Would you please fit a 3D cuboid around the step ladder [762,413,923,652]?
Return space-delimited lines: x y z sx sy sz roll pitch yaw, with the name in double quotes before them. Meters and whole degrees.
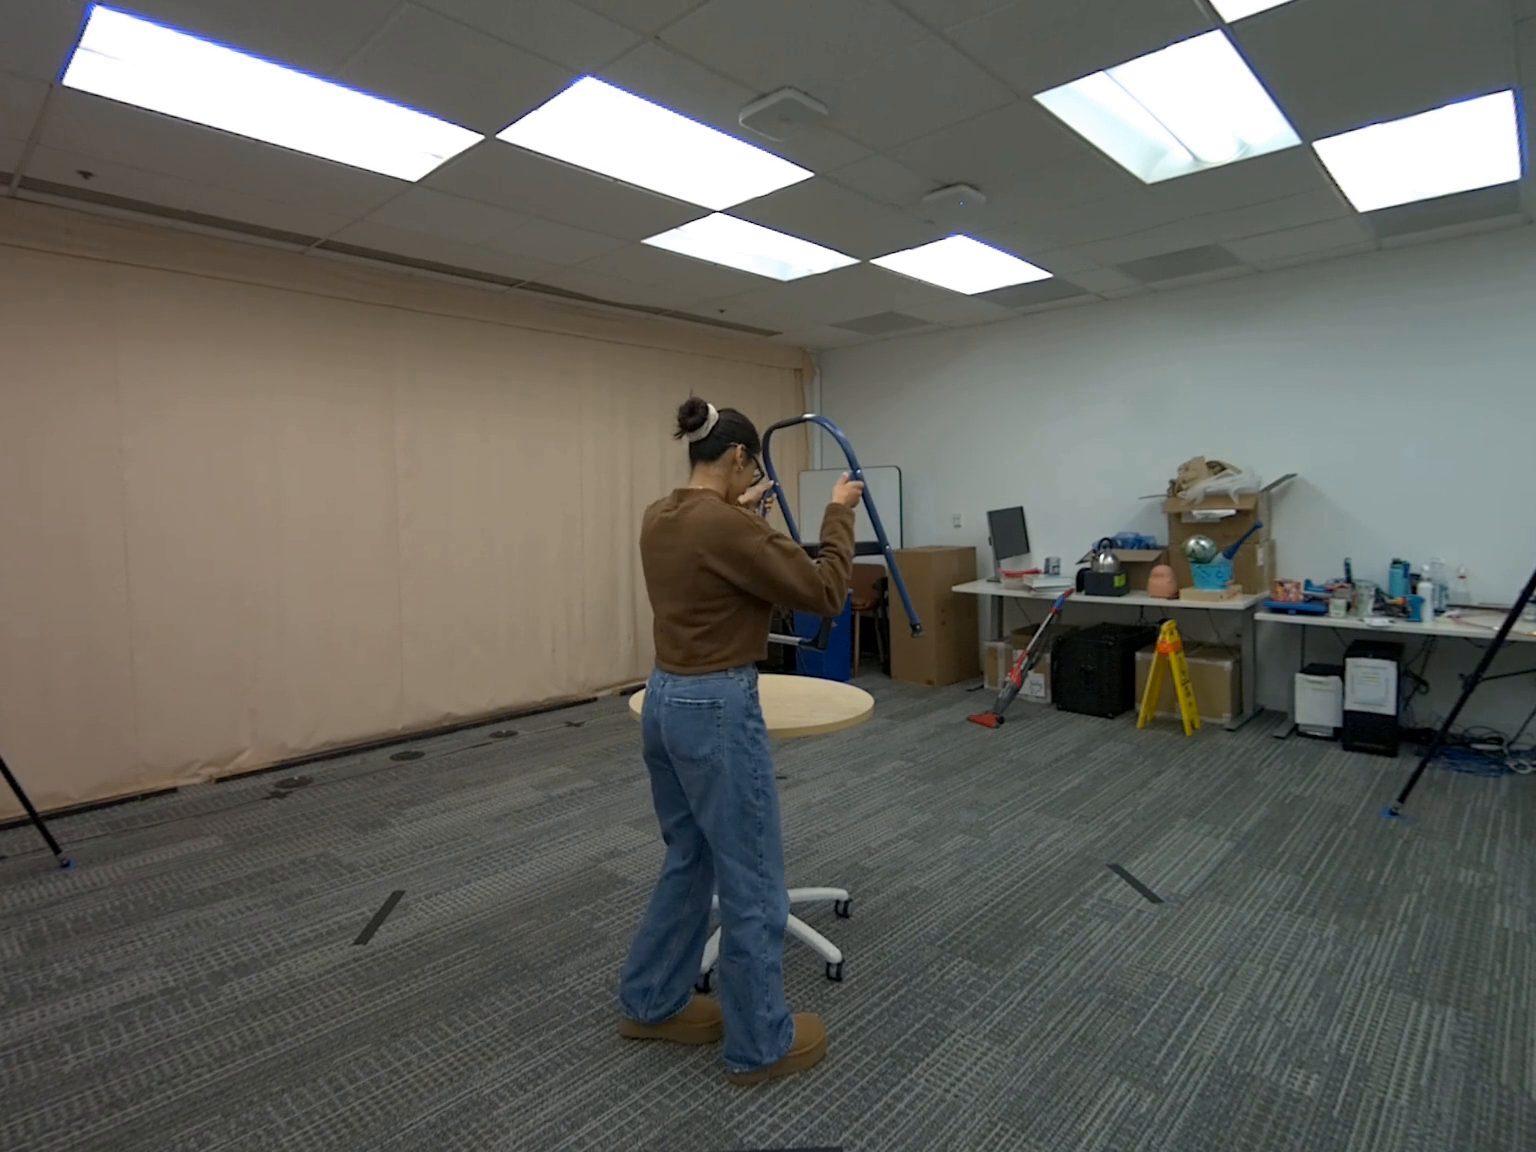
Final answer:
"step ladder" 0.137 -0.135 2.311 0.340 0.606 0.442 -4 1 -32
